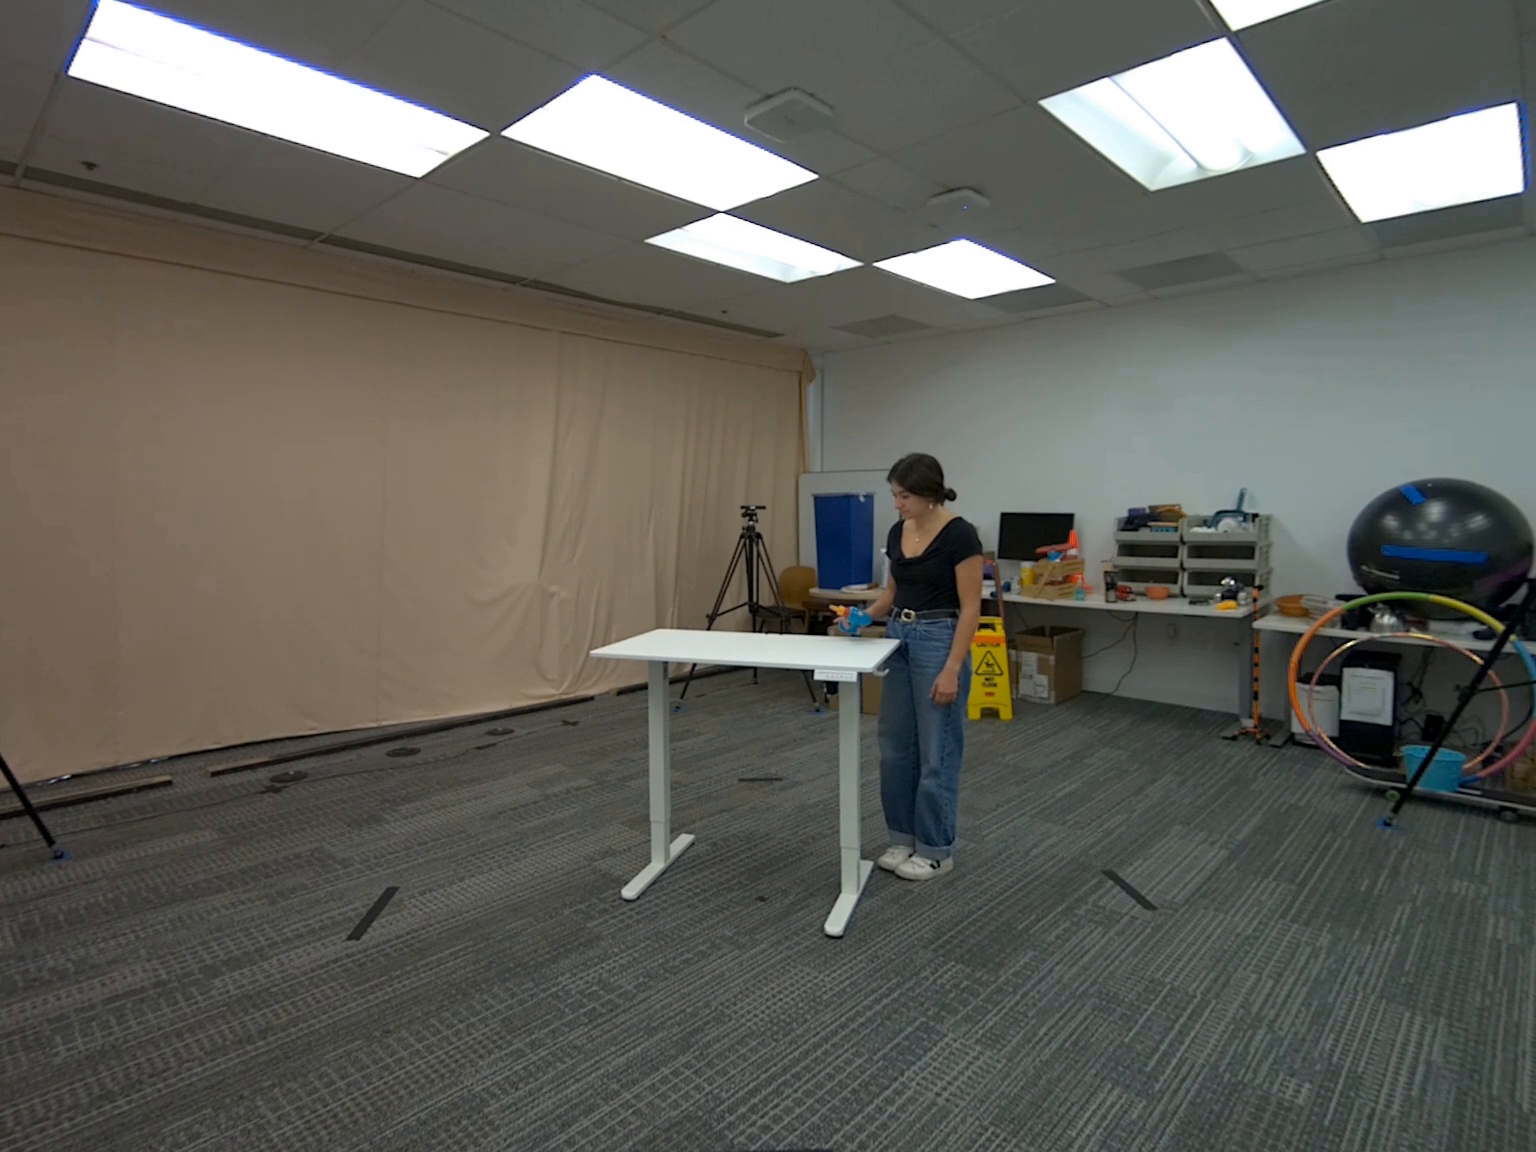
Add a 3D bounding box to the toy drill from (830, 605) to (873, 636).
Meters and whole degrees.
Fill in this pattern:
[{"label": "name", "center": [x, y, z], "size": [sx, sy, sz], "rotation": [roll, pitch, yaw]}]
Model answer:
[{"label": "toy drill", "center": [0.294, 0.158, 3.149], "size": [0.168, 0.061, 0.146], "rotation": [20, -29, -10]}]
